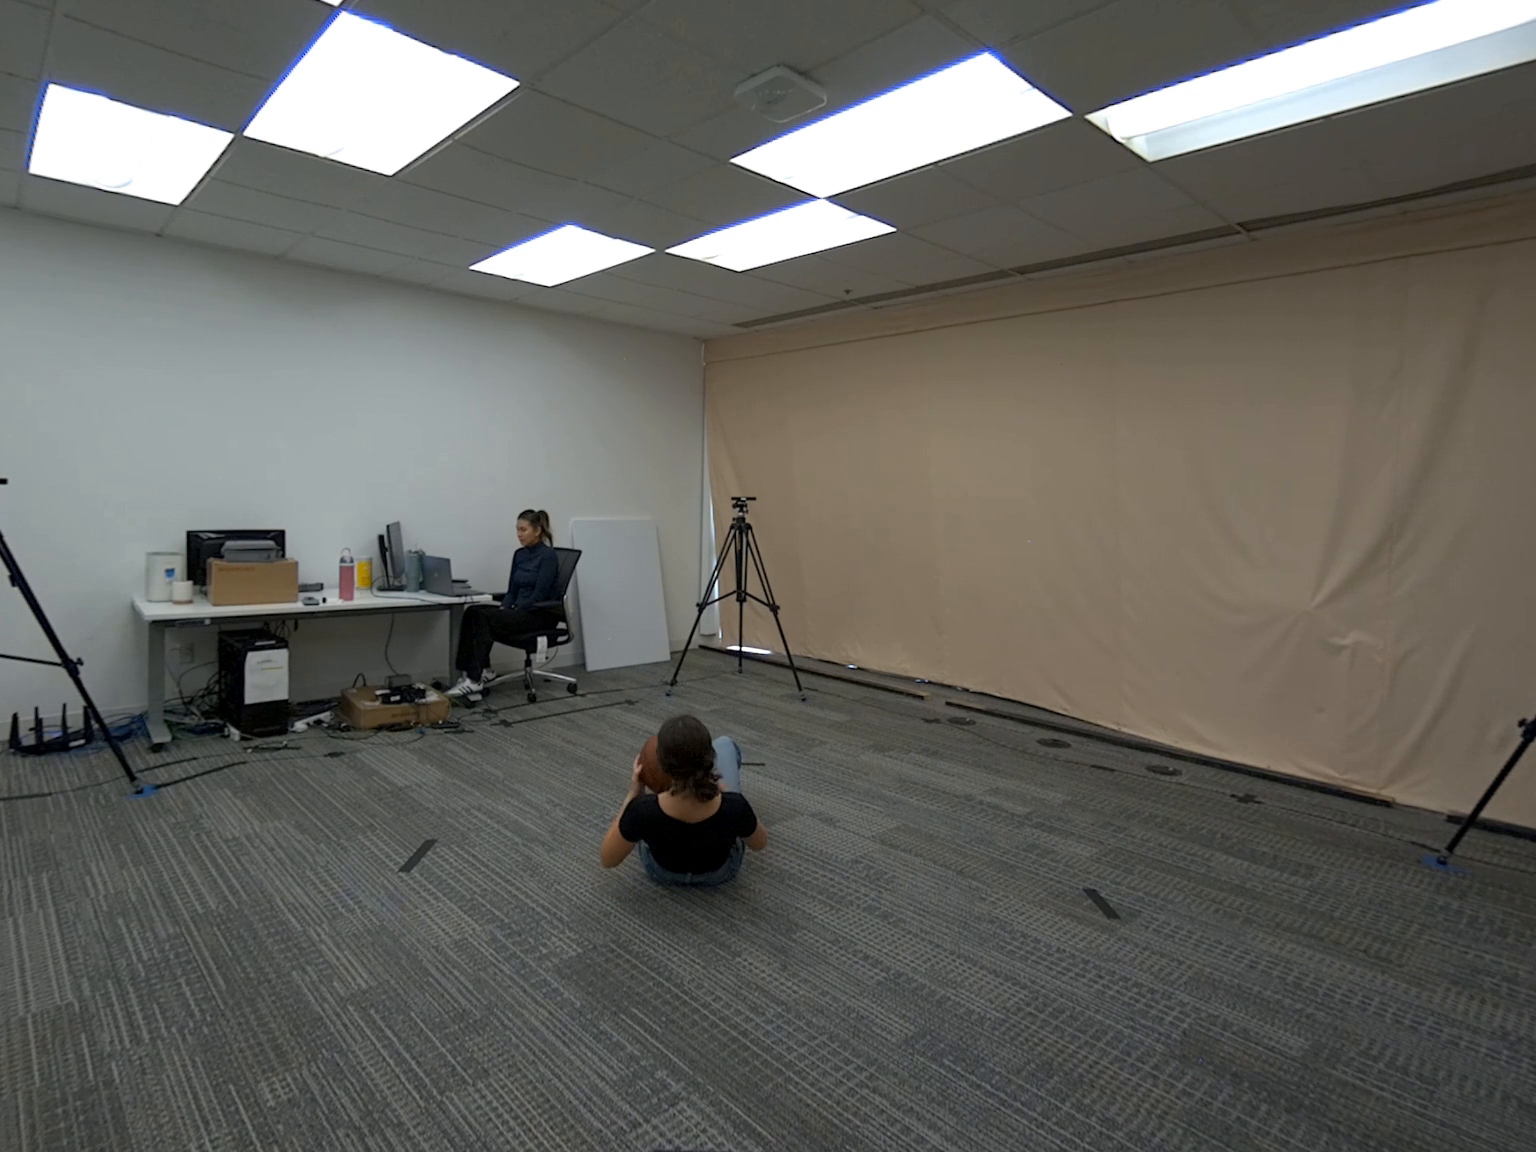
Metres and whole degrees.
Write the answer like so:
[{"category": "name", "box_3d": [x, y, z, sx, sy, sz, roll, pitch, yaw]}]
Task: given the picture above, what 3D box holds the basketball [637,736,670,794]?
[{"category": "basketball", "box_3d": [-0.364, 0.698, 3.049, 0.236, 0.235, 0.237, 1, 4, -1]}]
